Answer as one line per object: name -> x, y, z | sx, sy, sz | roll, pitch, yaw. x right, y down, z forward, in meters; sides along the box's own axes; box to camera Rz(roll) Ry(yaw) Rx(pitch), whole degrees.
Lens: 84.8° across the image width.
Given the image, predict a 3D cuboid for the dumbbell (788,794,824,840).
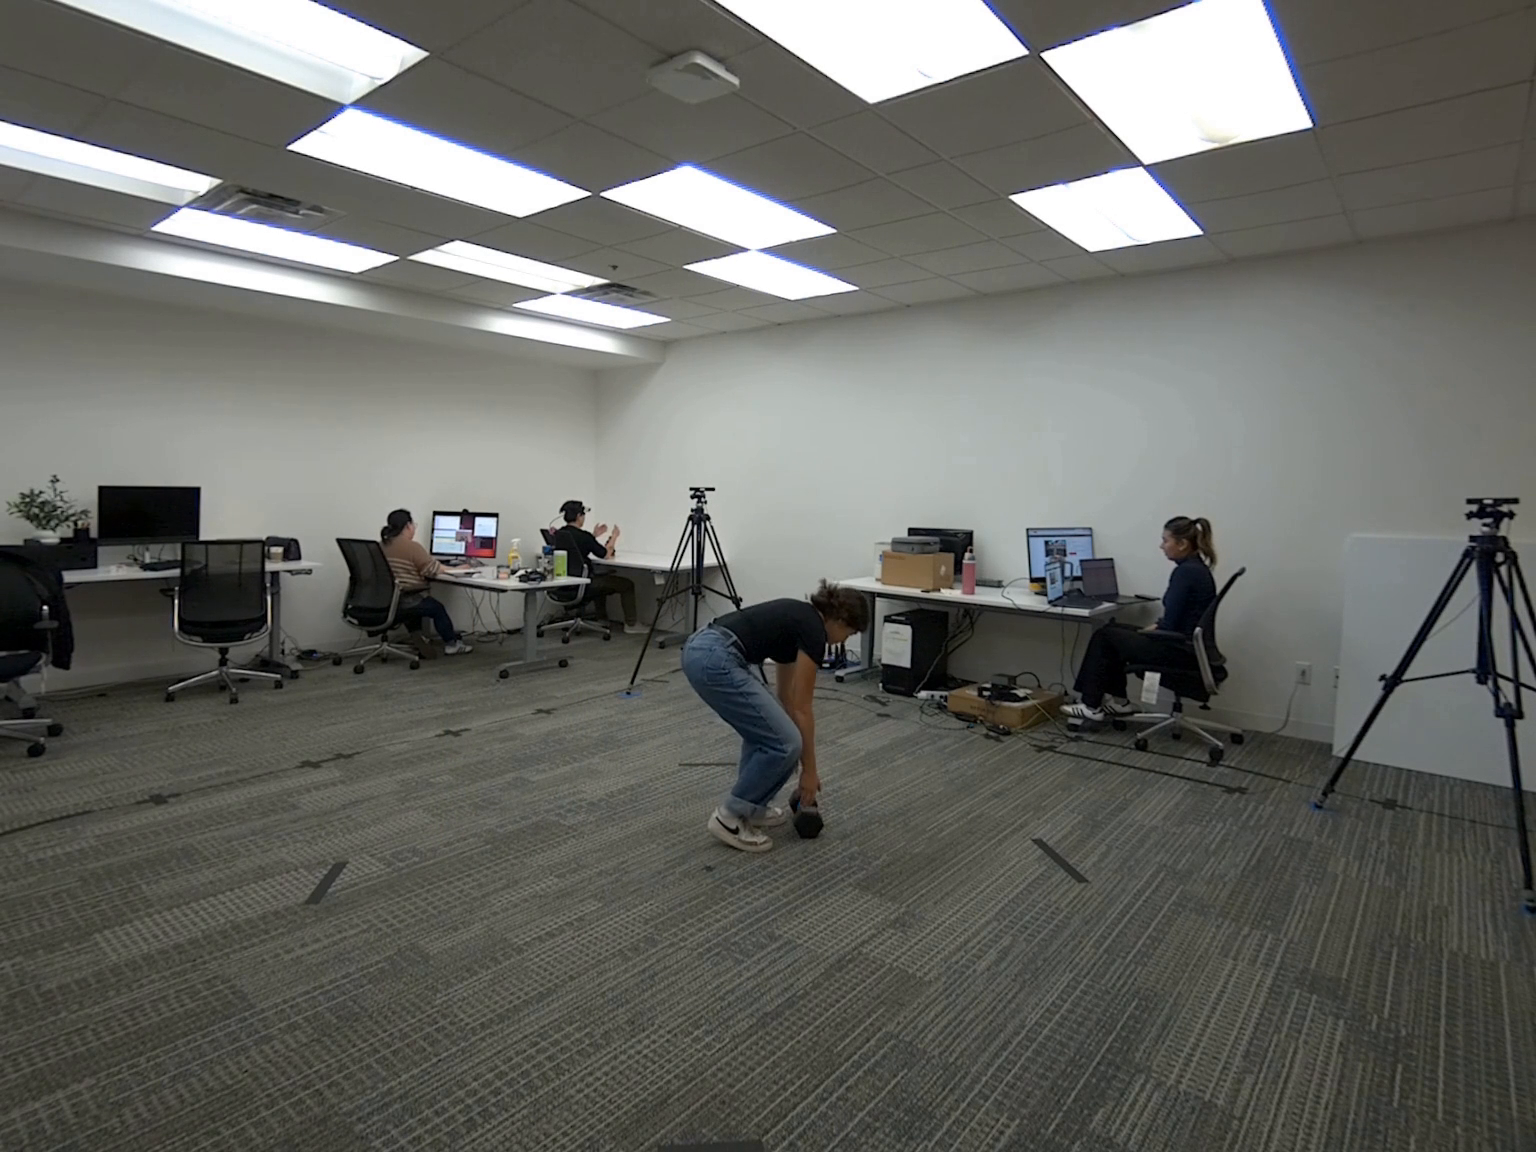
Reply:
dumbbell -> 0.140, 0.977, 3.532 | 0.108, 0.123, 0.295 | 32, 3, -5
